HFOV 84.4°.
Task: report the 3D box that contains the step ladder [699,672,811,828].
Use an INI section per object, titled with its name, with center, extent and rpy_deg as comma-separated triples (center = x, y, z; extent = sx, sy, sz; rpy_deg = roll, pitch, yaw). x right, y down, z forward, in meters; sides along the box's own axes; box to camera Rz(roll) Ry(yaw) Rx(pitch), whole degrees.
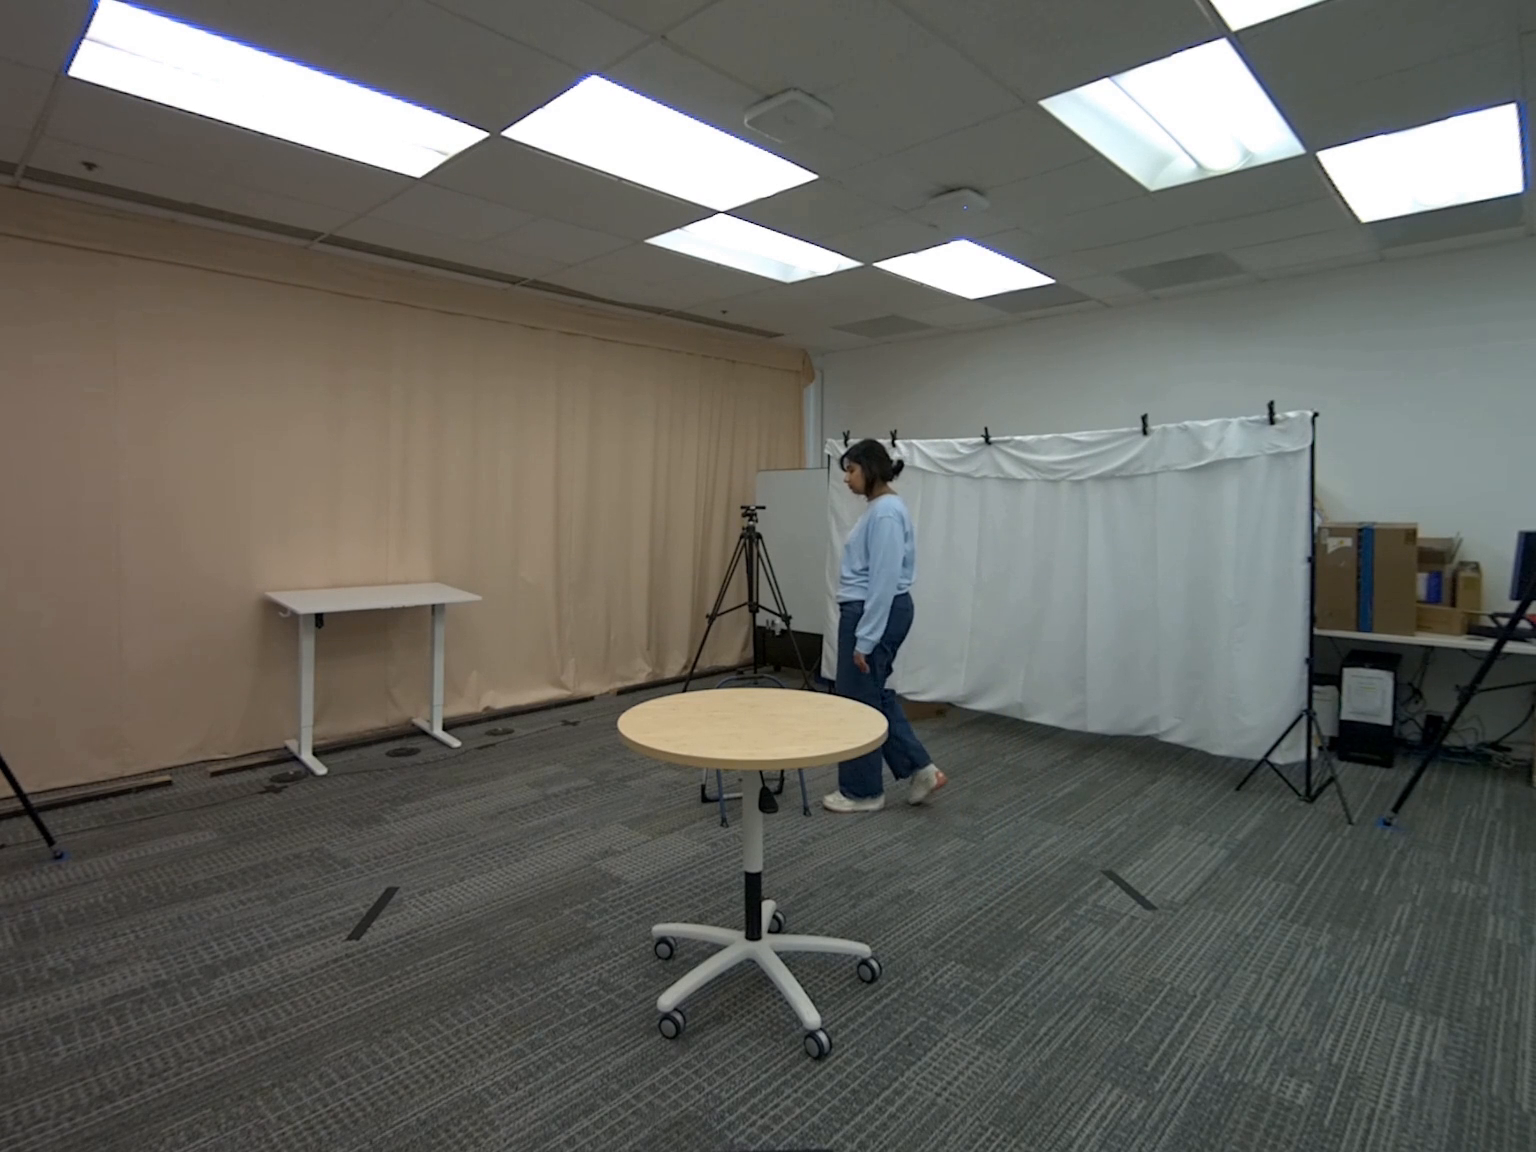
[step ladder]
center = -0.059, 0.772, 3.868
extent = 0.422, 0.605, 0.357
rpy_deg = 0, 3, -21
